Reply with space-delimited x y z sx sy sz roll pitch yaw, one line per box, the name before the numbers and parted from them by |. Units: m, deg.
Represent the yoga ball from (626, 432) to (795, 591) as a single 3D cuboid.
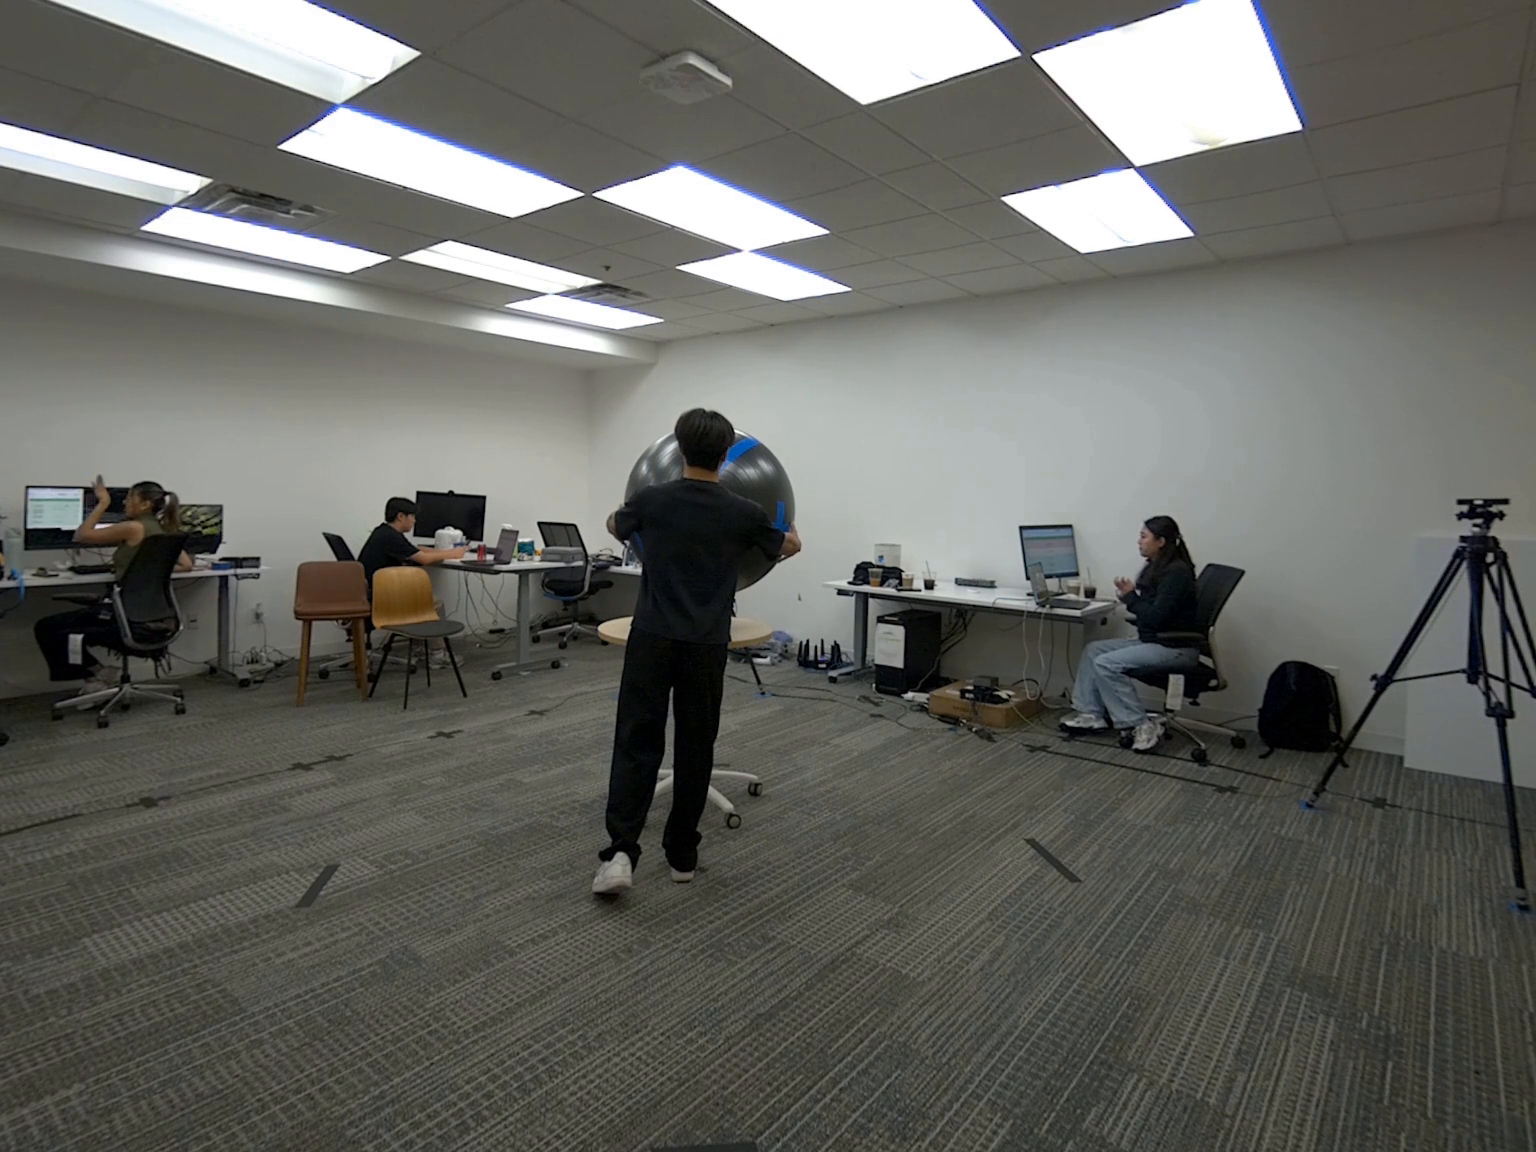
yoga ball | -0.271 -0.293 3.770 0.757 0.755 0.762 1 4 -2
